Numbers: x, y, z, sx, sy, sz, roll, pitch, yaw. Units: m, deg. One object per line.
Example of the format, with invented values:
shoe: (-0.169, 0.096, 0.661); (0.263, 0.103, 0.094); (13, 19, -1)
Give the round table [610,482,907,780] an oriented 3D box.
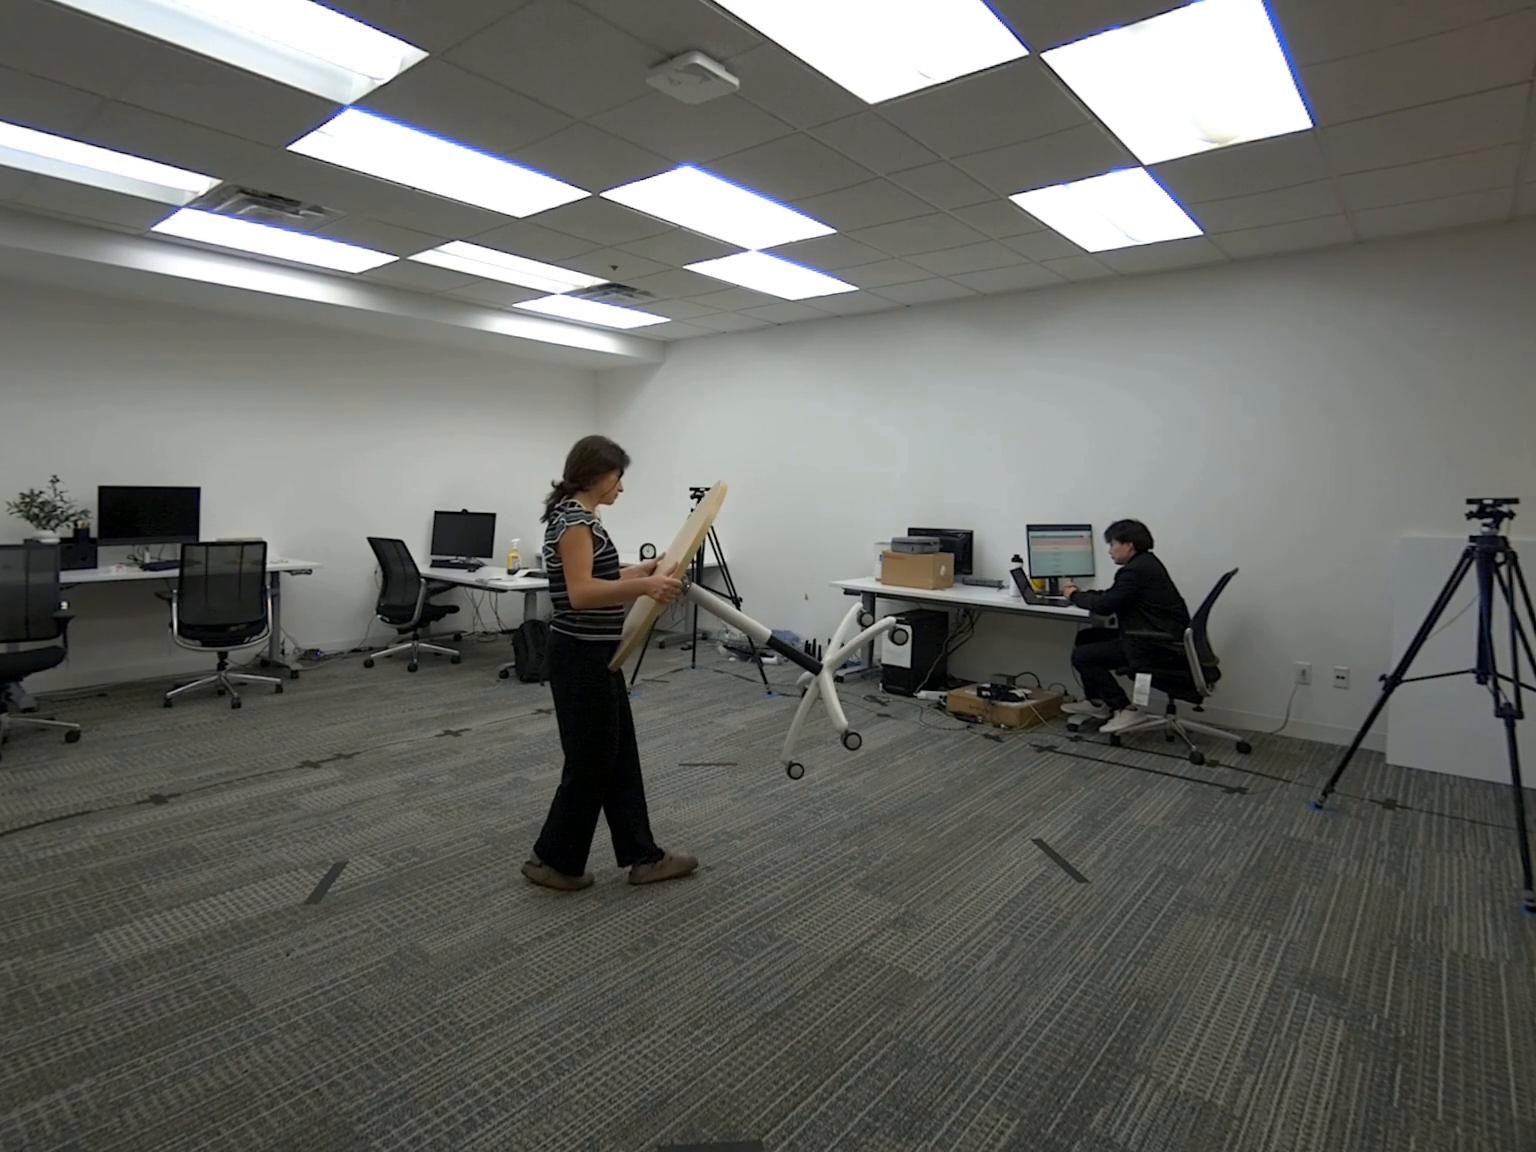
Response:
round table: (-0.040, 0.205, 2.999); (0.785, 0.764, 0.773); (32, -1, -9)
